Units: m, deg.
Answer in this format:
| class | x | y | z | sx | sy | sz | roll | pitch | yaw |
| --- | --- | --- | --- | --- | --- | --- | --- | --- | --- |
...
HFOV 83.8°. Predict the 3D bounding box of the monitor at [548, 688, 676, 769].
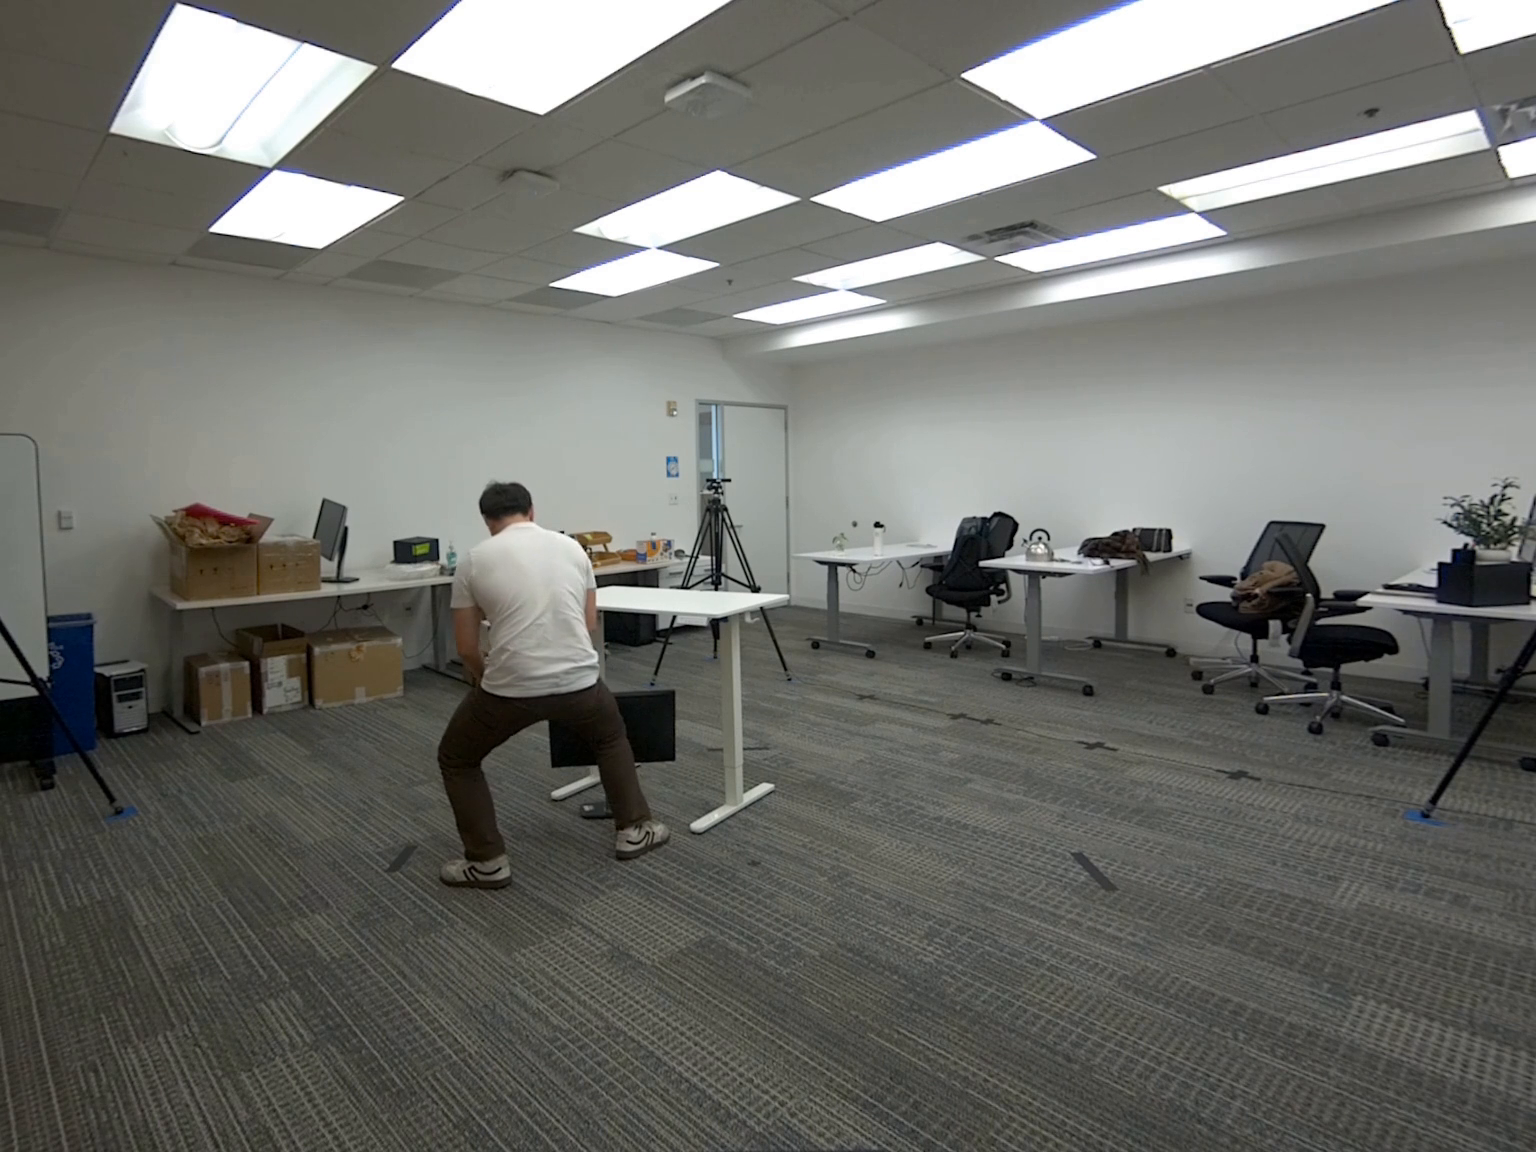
| class | x | y | z | sx | sy | sz | roll | pitch | yaw |
| --- | --- | --- | --- | --- | --- | --- | --- | --- | --- |
| monitor | -0.653 | 0.746 | 3.612 | 0.535 | 0.520 | 0.189 | -1 | 5 | -9 |
